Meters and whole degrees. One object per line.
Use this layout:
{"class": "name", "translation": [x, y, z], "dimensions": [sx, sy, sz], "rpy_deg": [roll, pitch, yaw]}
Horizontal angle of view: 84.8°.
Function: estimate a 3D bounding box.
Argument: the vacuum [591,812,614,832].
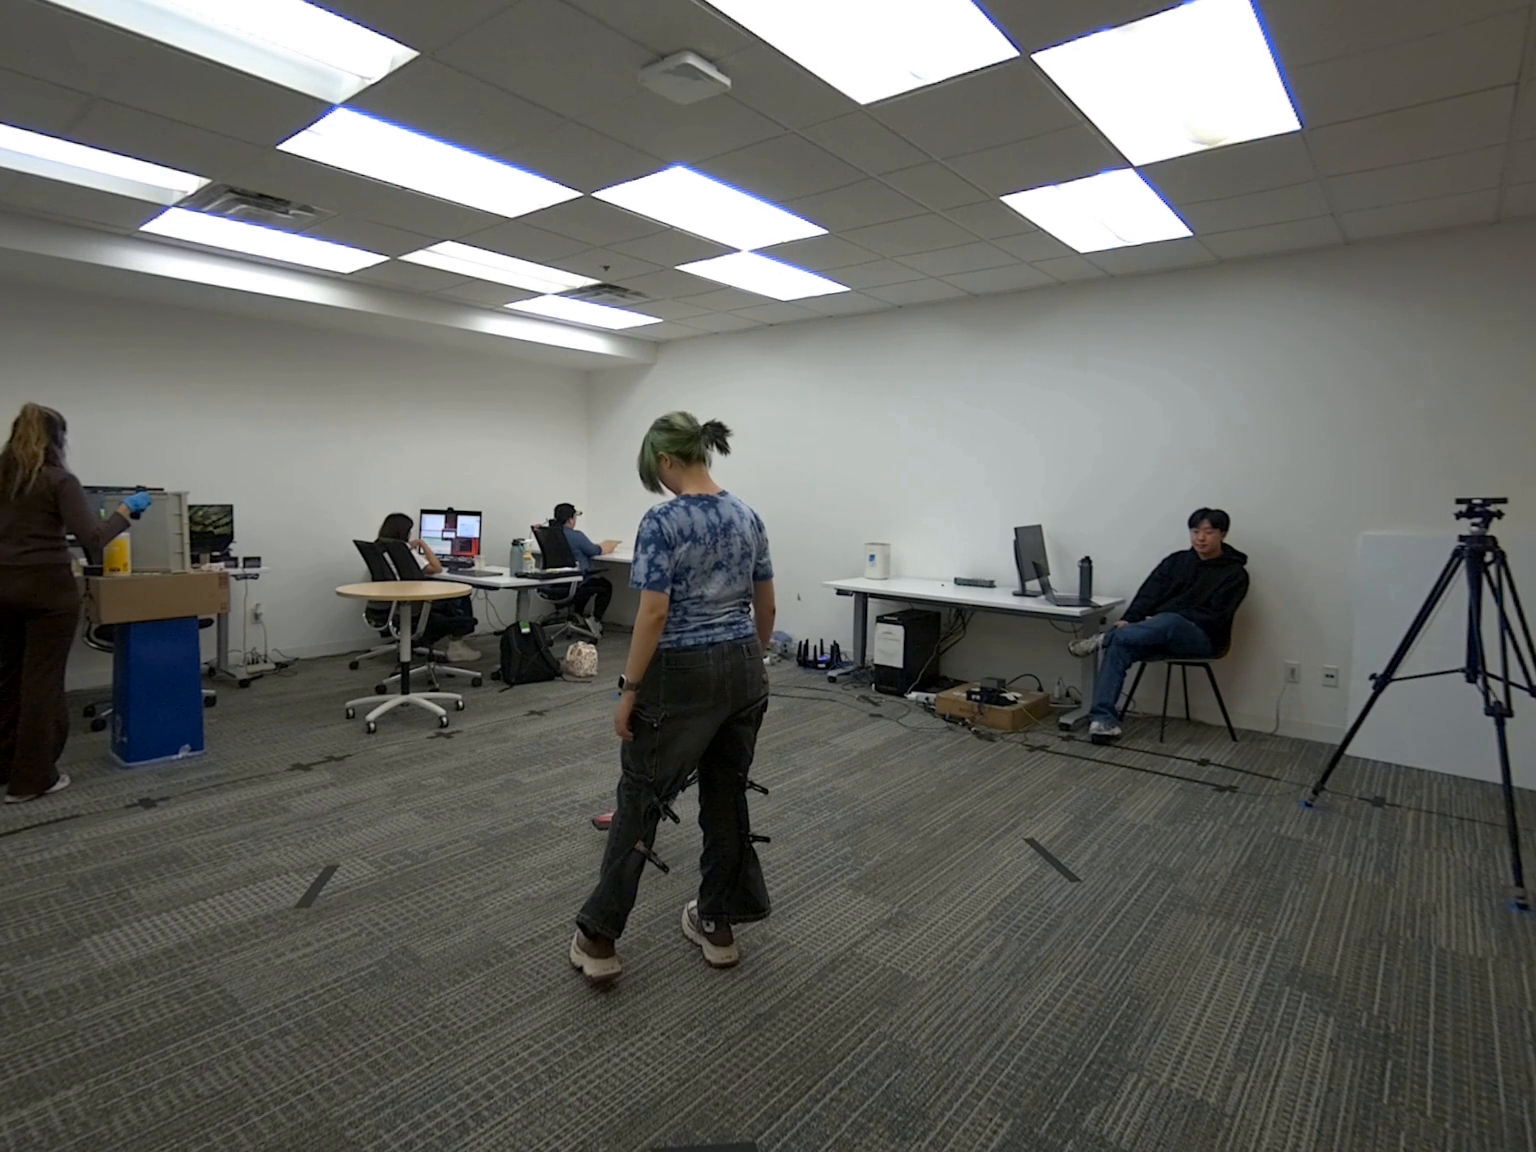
{"class": "vacuum", "translation": [-0.311, 0.678, 3.082], "dimensions": [0.245, 0.148, 1.046], "rpy_deg": [-7, -33, -43]}
